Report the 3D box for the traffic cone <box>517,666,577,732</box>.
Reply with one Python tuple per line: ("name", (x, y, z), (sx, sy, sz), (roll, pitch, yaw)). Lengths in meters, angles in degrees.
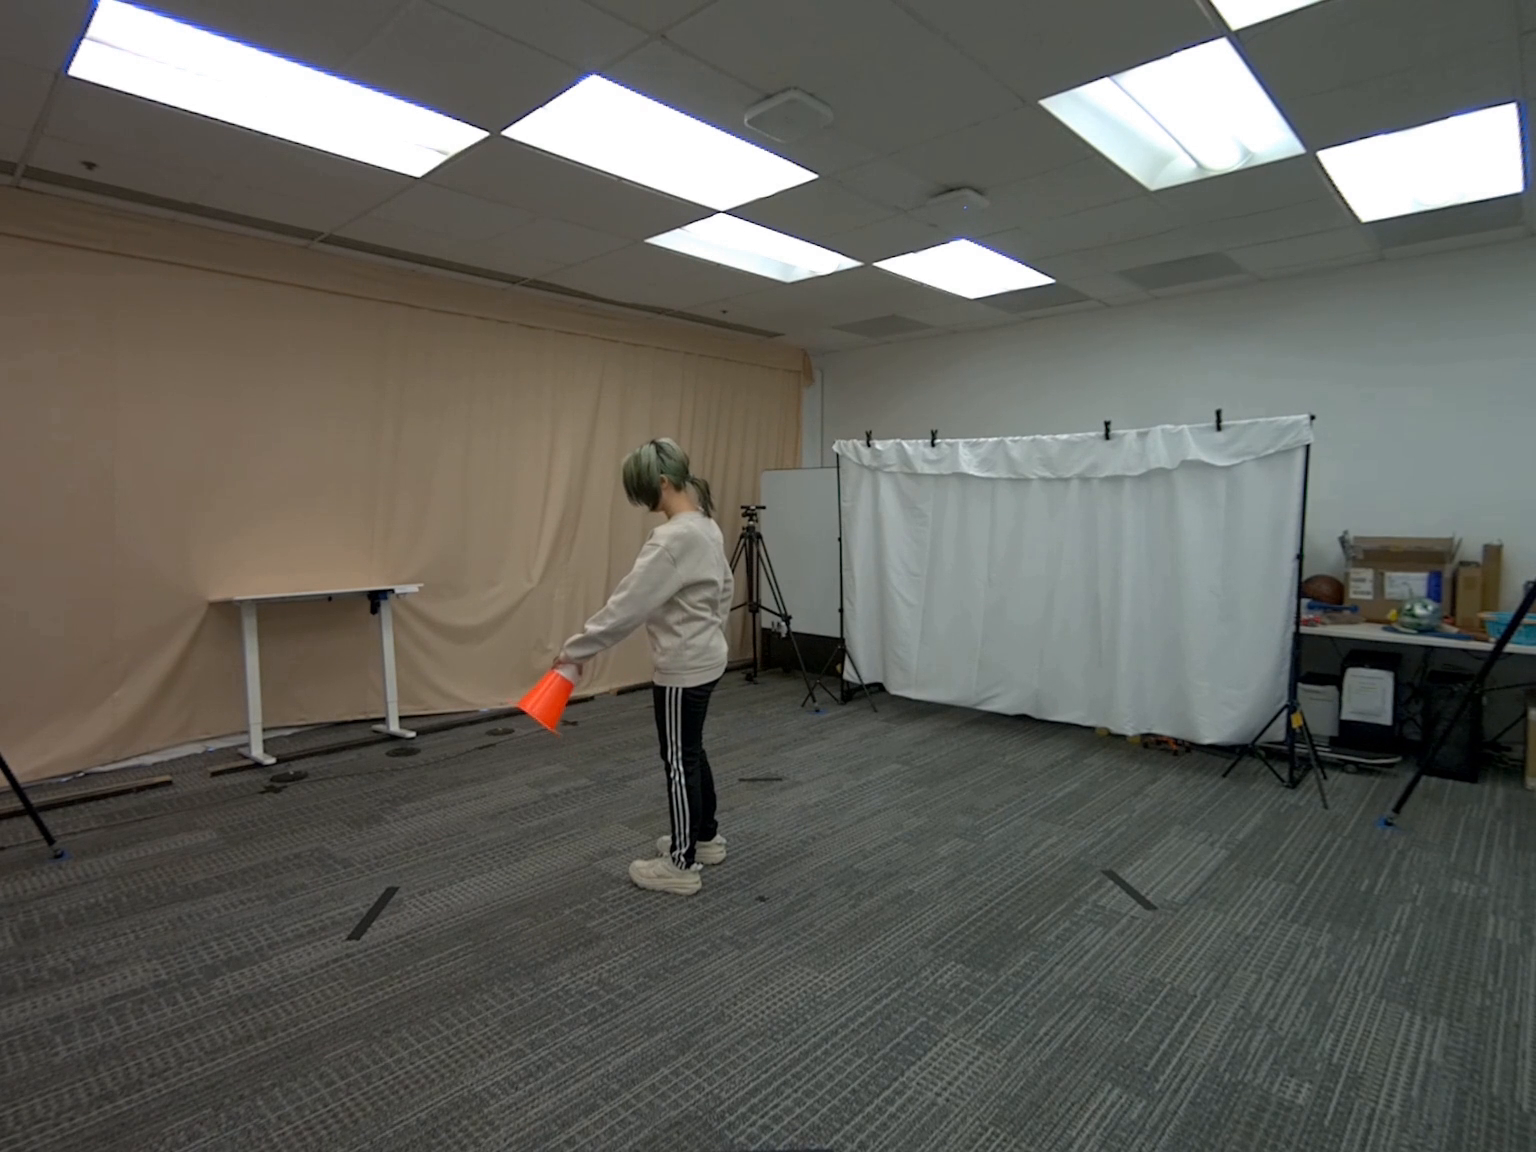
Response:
("traffic cone", (-0.705, 0.345, 2.967), (0.205, 0.383, 0.204), (34, -13, 5))
